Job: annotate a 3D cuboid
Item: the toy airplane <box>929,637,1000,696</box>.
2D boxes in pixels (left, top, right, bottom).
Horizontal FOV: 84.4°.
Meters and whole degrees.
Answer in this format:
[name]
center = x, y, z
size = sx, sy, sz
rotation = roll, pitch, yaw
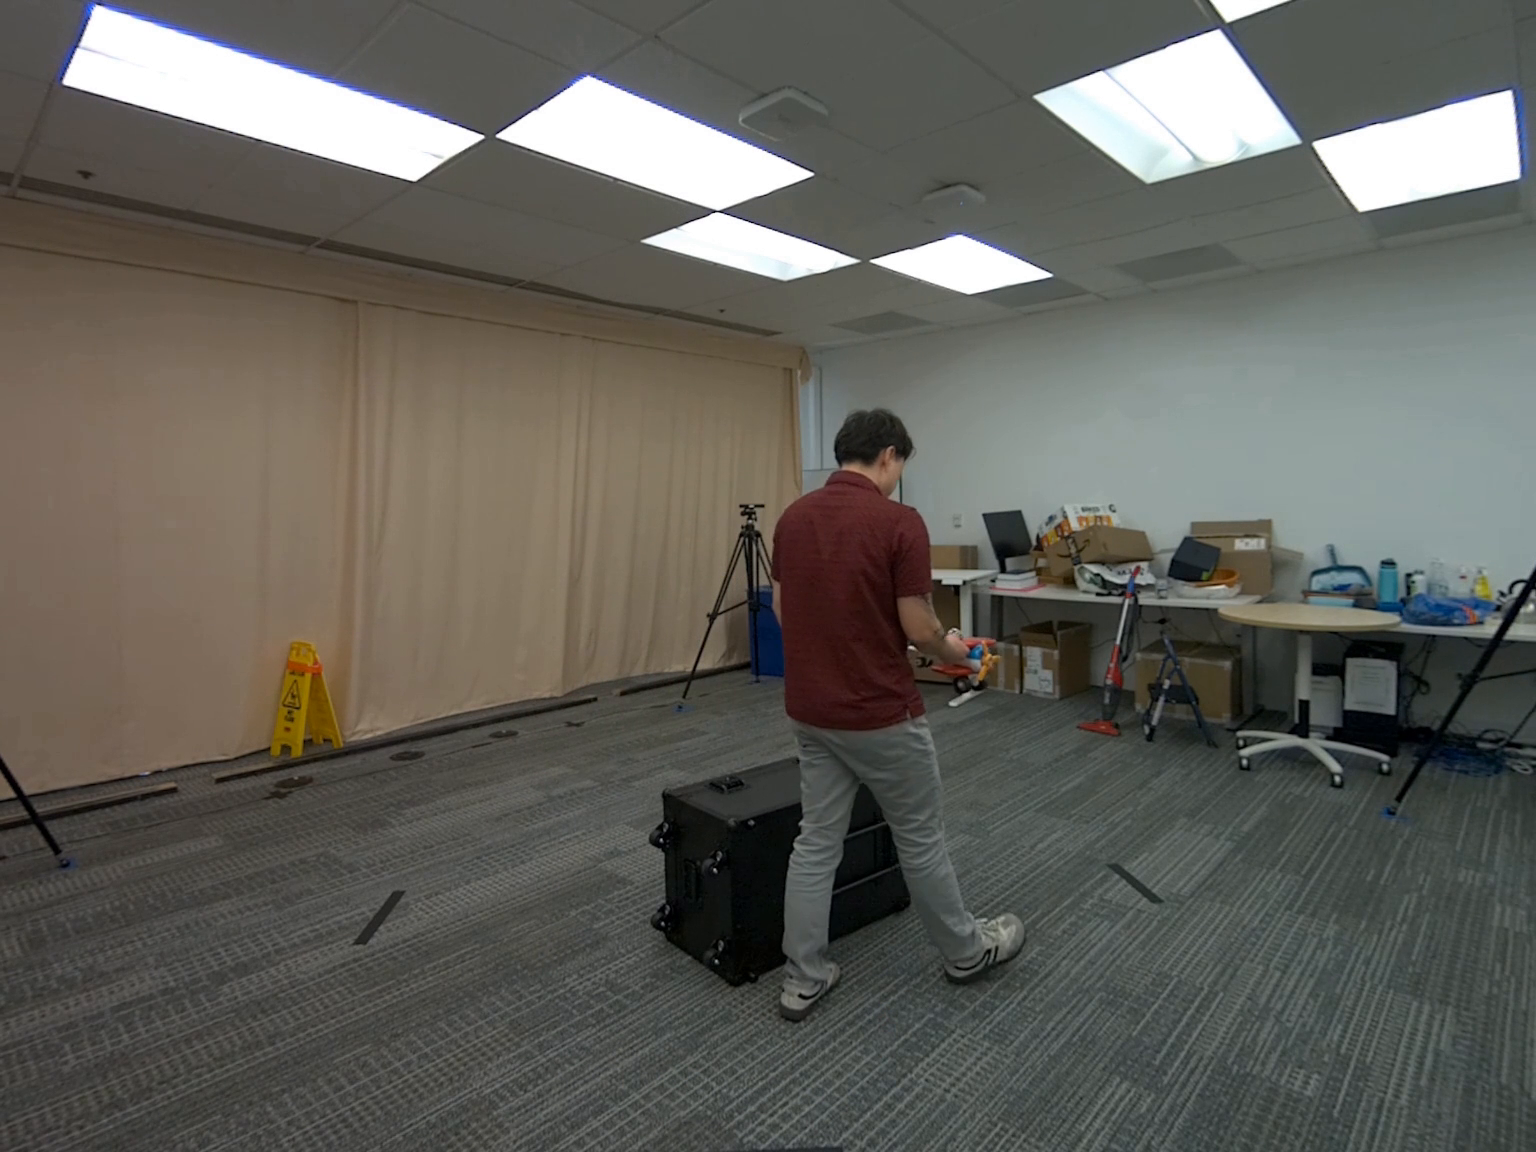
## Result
[toy airplane]
center = 0.565, 0.248, 2.548
size = 0.265, 0.156, 0.246
rotation = 18, 14, 19
